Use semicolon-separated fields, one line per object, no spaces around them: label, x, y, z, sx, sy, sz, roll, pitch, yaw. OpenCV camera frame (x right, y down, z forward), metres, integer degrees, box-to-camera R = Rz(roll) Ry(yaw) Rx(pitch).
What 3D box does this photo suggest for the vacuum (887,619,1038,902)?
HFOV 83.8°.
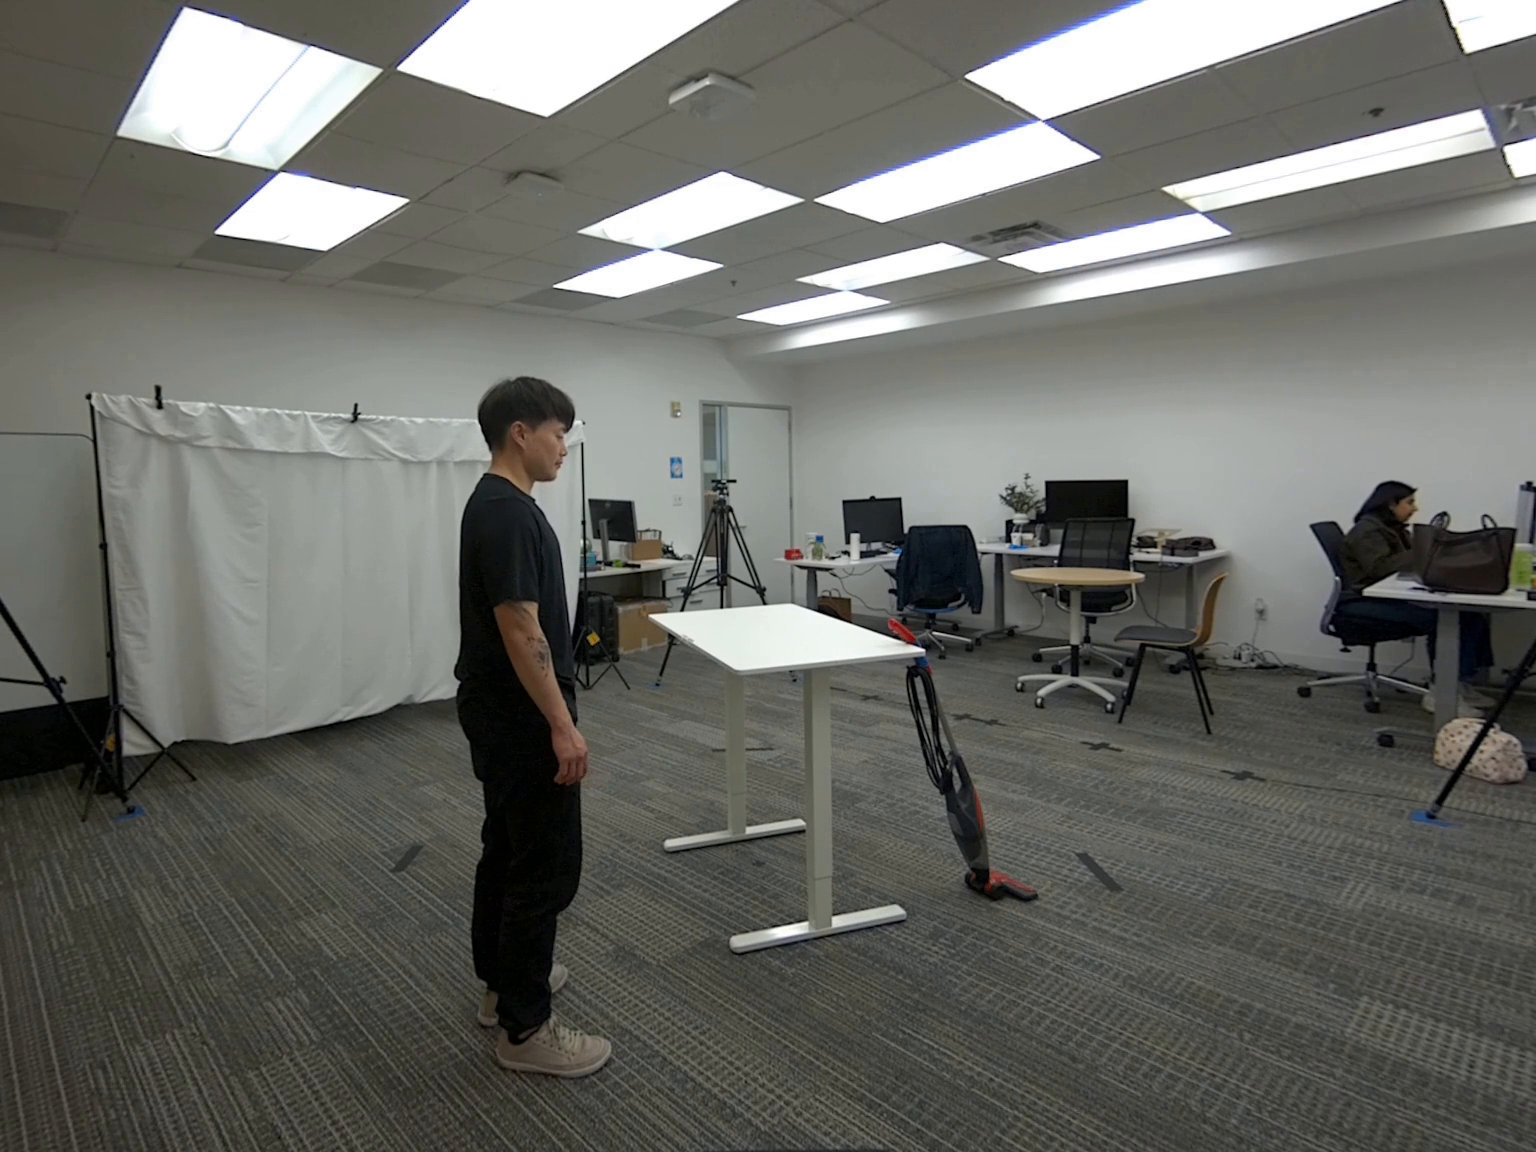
vacuum;0.582;0.597;2.747;0.143;1.029;0.260;-32;19;-31
